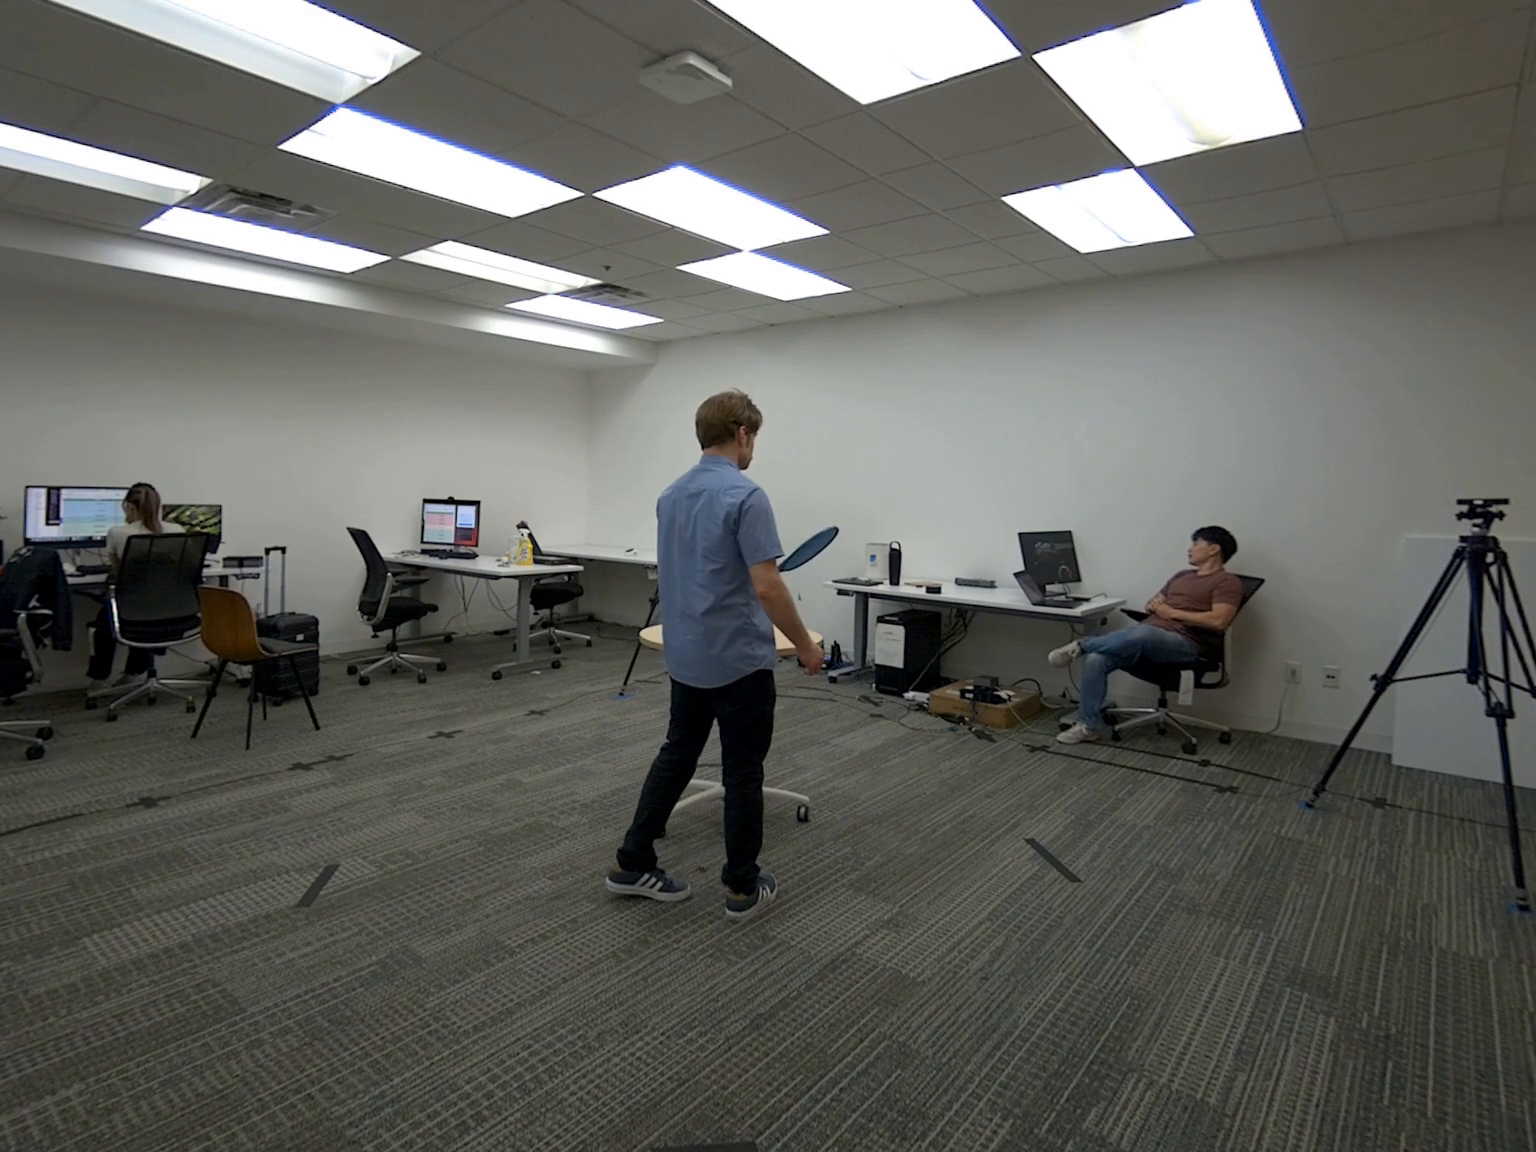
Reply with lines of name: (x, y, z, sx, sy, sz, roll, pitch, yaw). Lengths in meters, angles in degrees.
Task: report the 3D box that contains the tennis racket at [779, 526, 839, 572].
tennis racket: (0.083, -0.057, 3.119, 0.429, 0.033, 0.209, -34, -23, -27)
